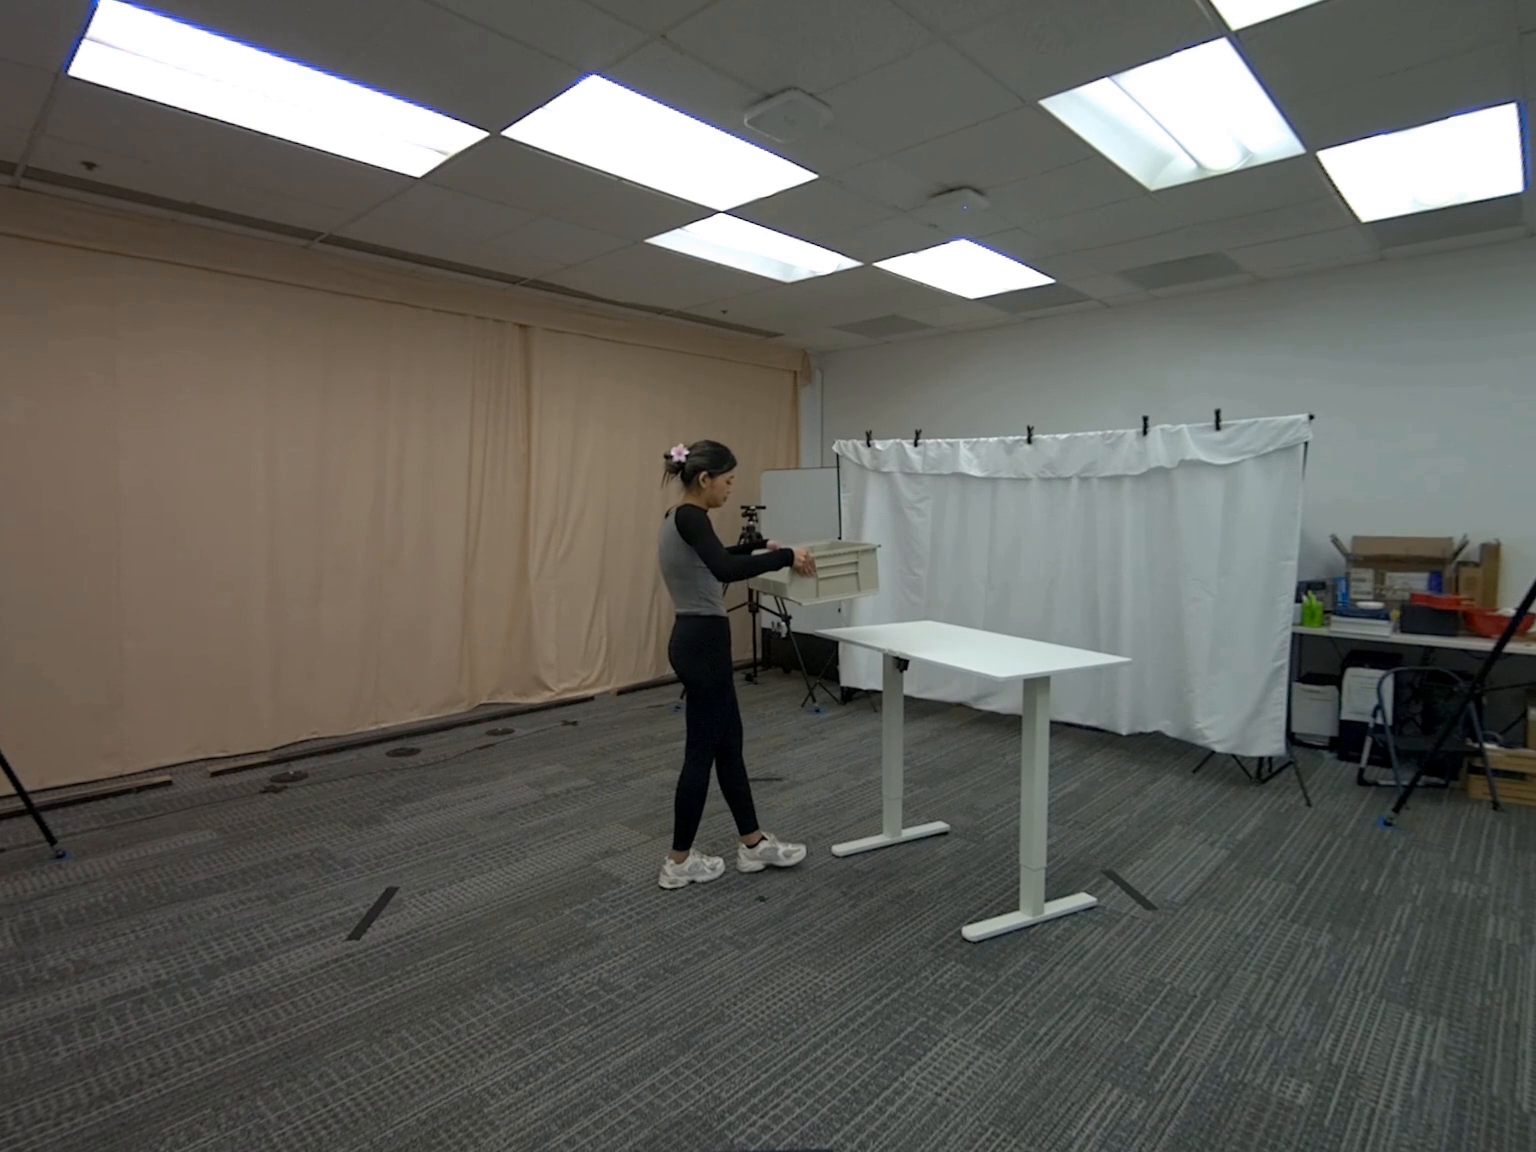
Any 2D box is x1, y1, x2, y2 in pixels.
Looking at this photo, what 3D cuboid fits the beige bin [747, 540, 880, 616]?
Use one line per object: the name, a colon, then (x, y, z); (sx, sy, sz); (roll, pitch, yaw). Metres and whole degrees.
beige bin: (0.164, -0.011, 3.166); (0.371, 0.188, 0.431); (-4, 5, -18)
